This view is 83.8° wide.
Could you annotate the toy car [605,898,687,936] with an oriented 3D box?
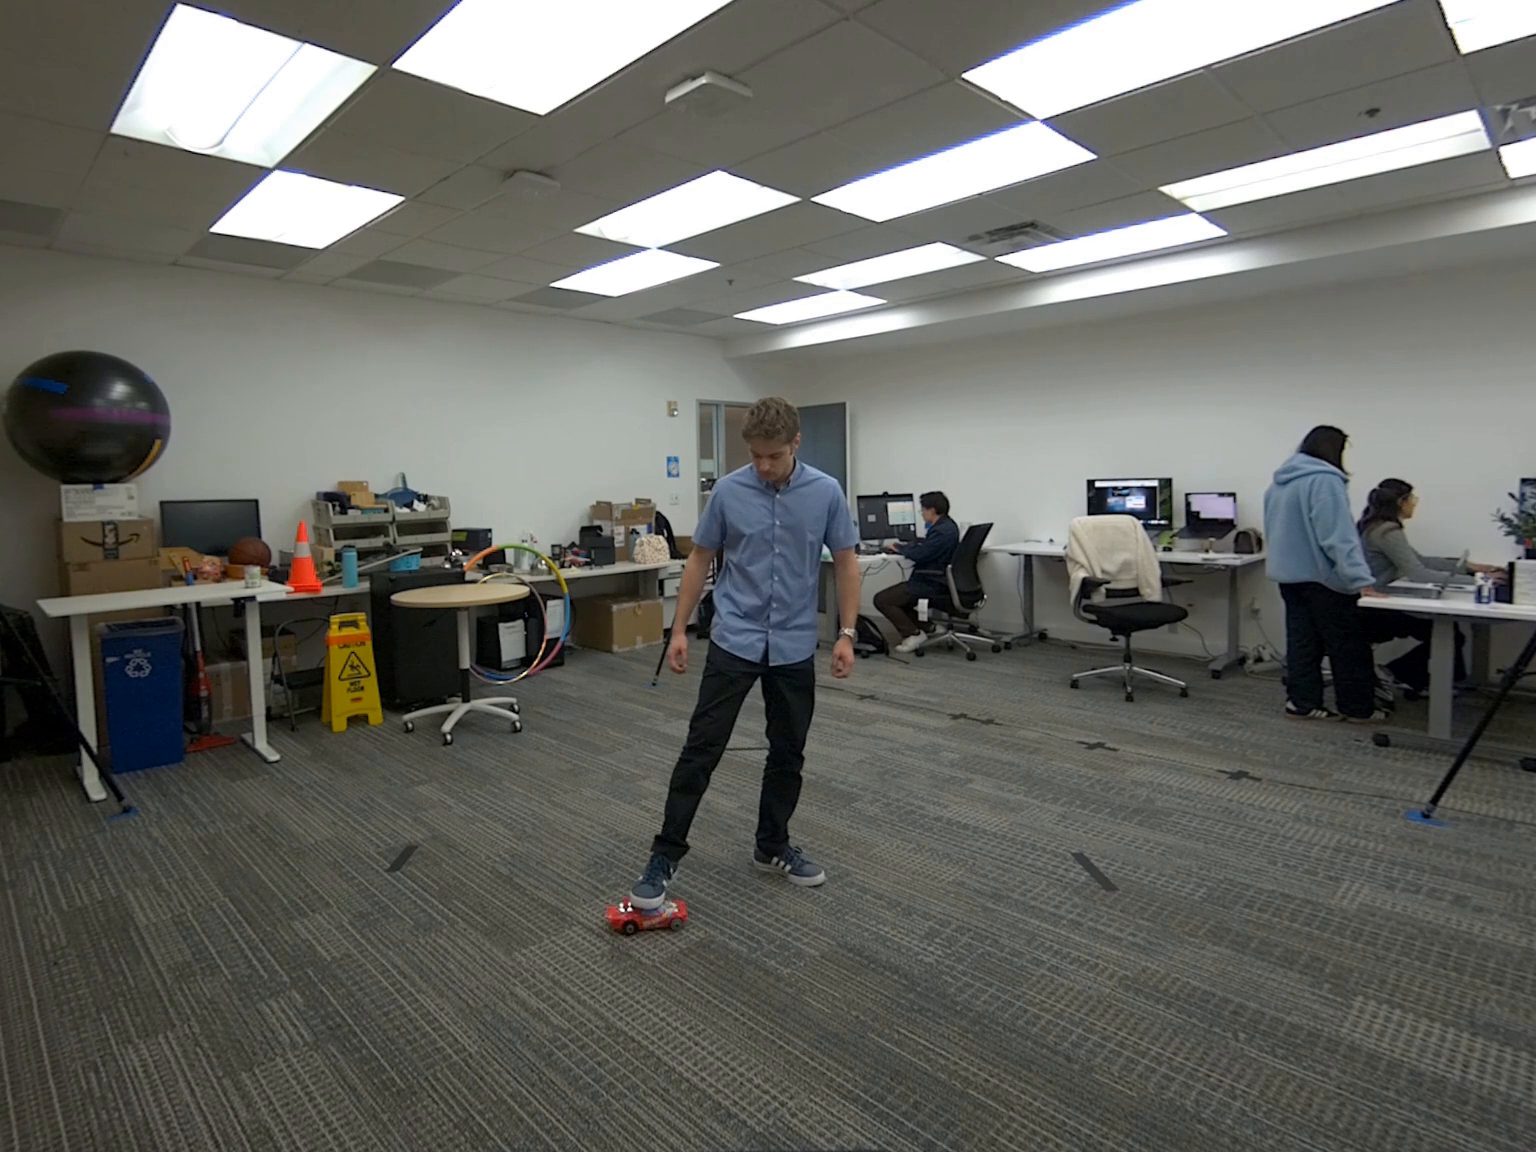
[{"bbox_3d":[-0.381,1.070,2.690,0.252,0.083,0.132,11,3,-9],"label":"toy car"}]
